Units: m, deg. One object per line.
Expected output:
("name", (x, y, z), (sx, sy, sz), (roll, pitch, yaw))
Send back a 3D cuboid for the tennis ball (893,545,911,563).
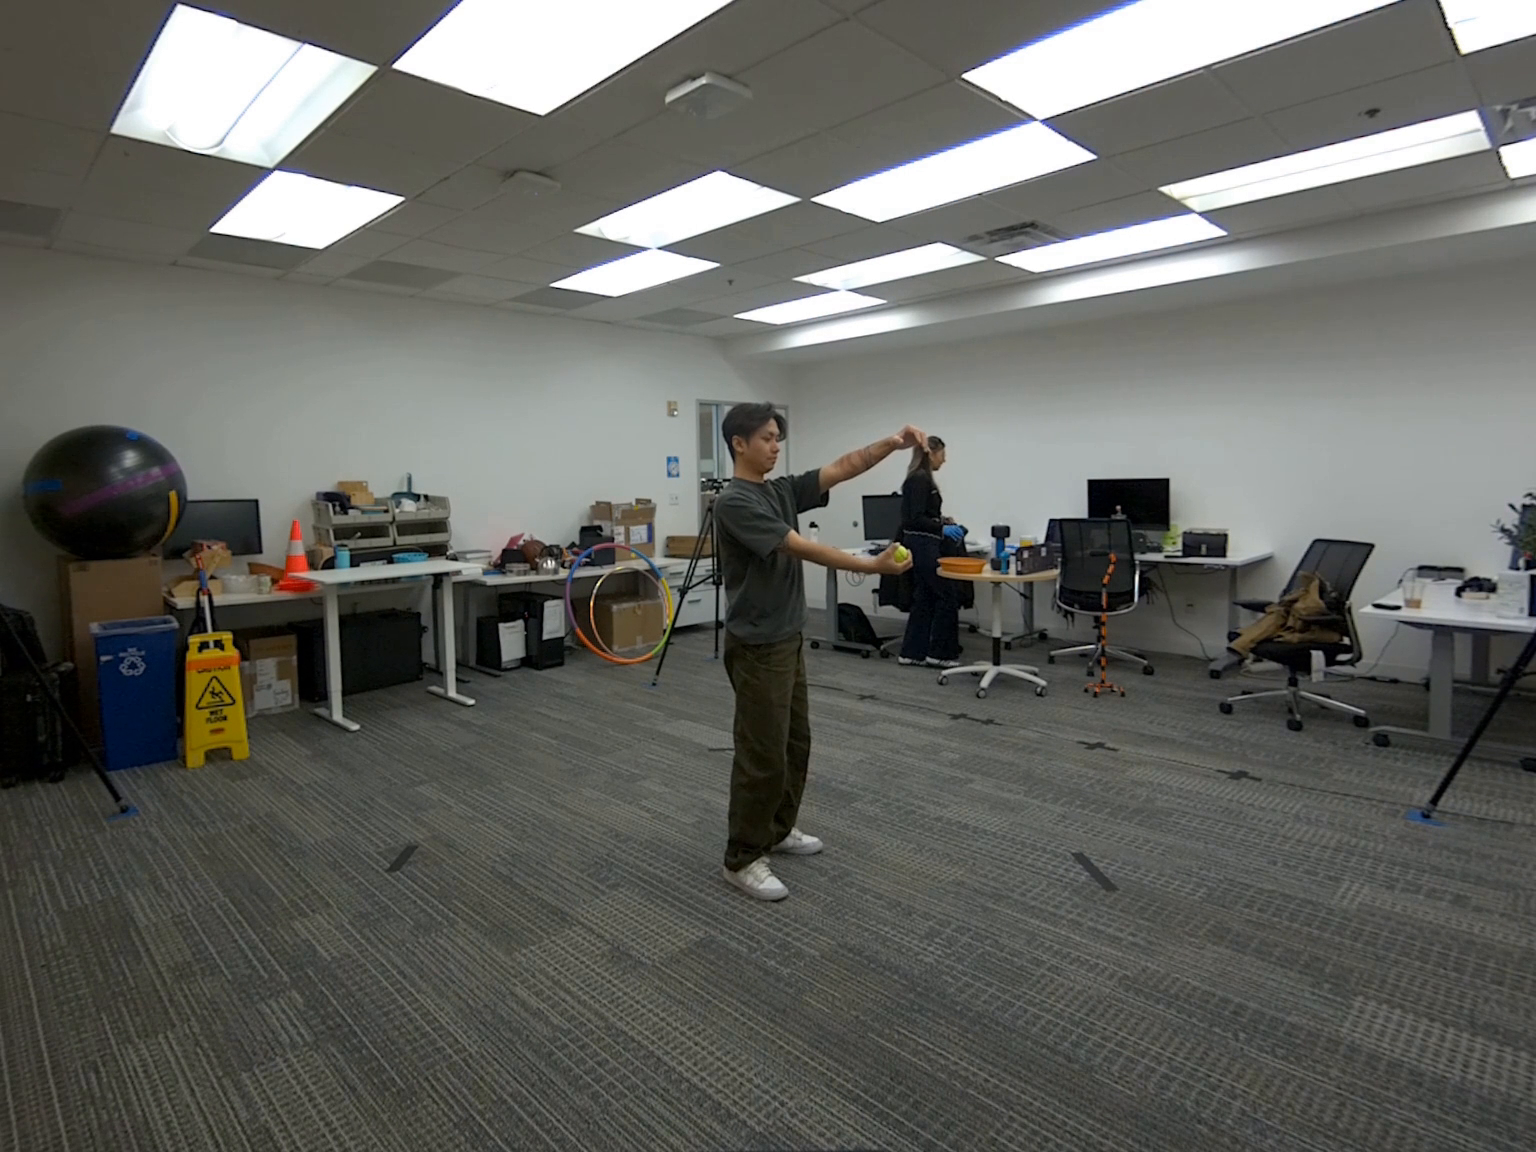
("tennis ball", (0.419, -0.070, 2.796), (0.066, 0.066, 0.067), (-1, 5, -2))
